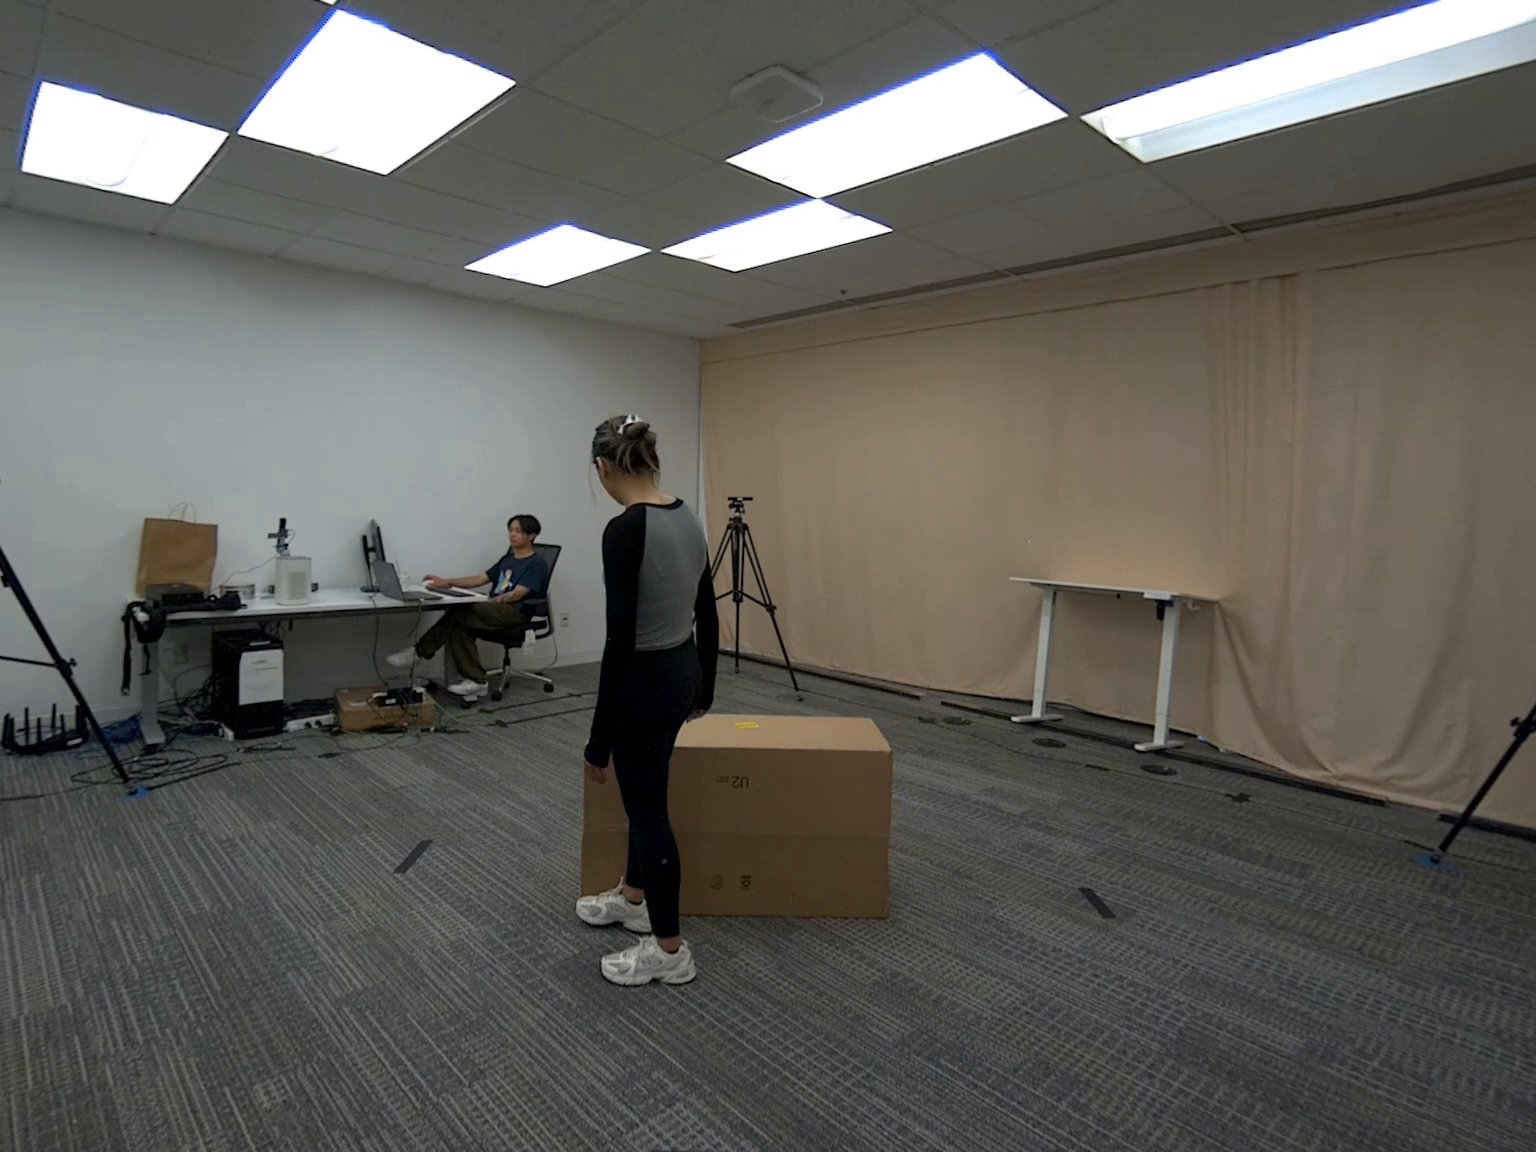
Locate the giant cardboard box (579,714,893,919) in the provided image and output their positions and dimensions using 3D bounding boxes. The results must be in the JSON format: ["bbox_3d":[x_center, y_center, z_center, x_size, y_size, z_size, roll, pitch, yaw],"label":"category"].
[{"bbox_3d":[-0.118,0.828,2.997,1.025,0.576,0.428,1,4,-1],"label":"giant cardboard box"}]
